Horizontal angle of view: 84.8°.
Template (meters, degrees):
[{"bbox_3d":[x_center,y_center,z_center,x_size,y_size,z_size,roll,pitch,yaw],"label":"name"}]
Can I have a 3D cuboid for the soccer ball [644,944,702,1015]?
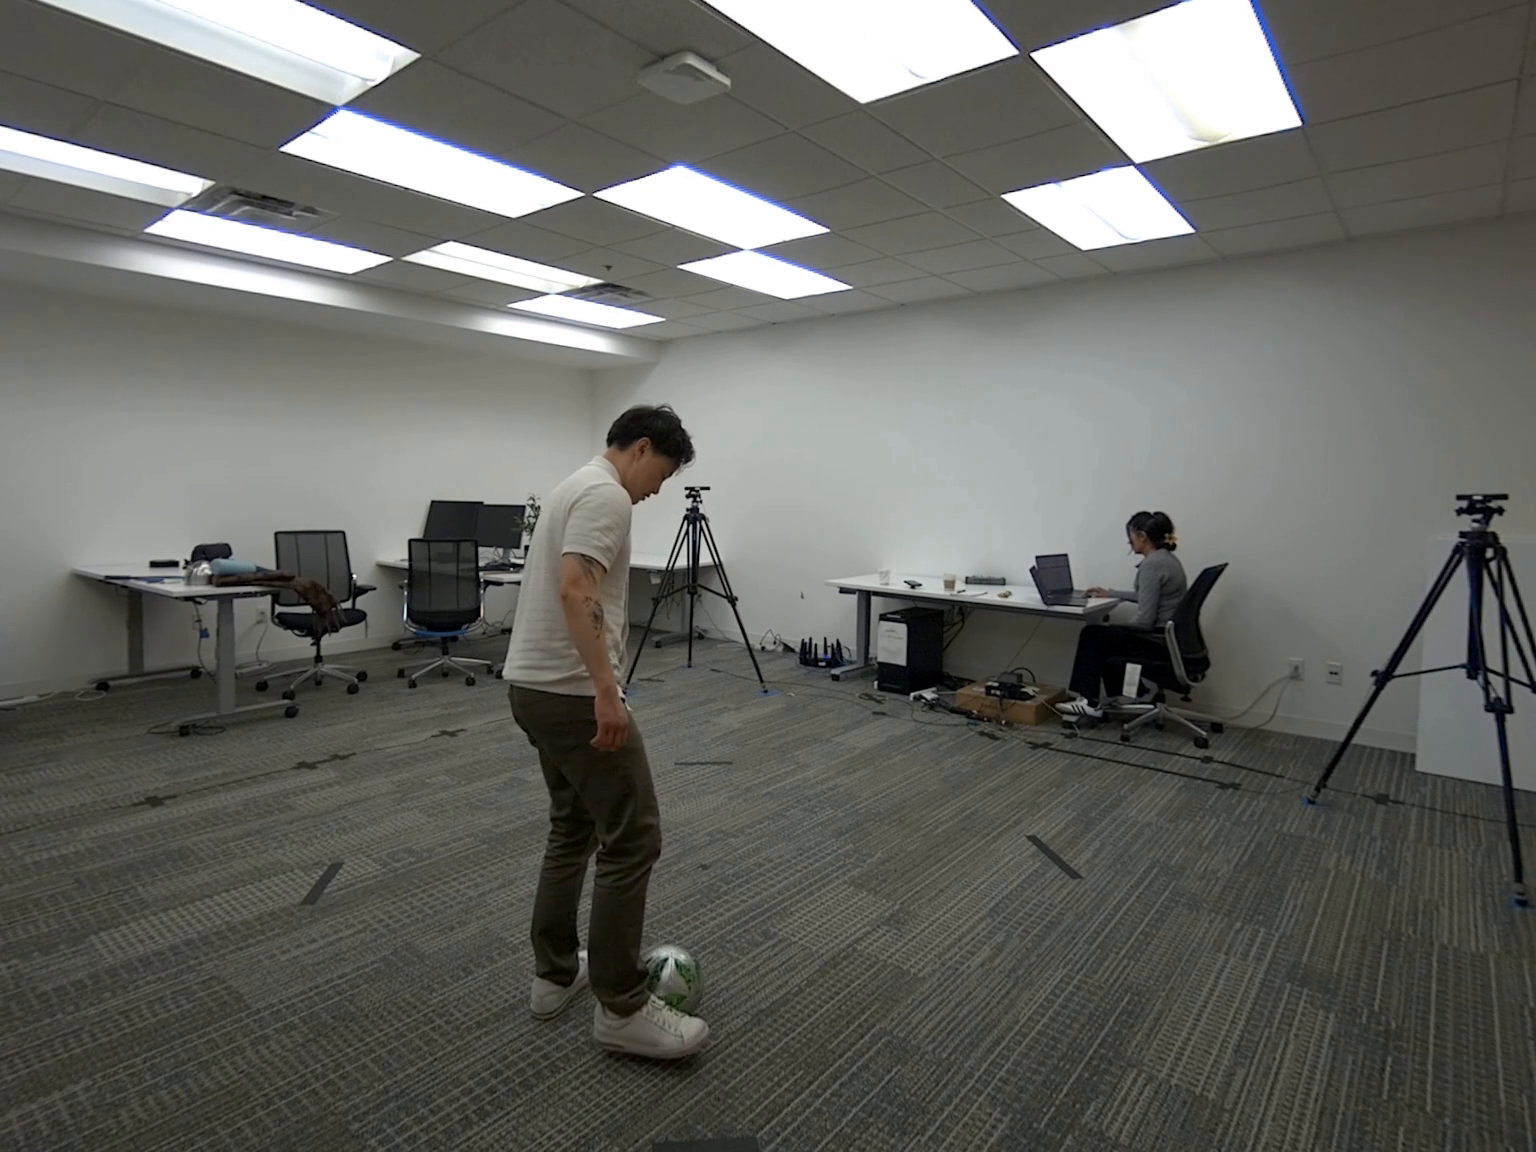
[{"bbox_3d":[-0.263,1.067,2.221,0.187,0.187,0.188,0,4,-2],"label":"soccer ball"}]
